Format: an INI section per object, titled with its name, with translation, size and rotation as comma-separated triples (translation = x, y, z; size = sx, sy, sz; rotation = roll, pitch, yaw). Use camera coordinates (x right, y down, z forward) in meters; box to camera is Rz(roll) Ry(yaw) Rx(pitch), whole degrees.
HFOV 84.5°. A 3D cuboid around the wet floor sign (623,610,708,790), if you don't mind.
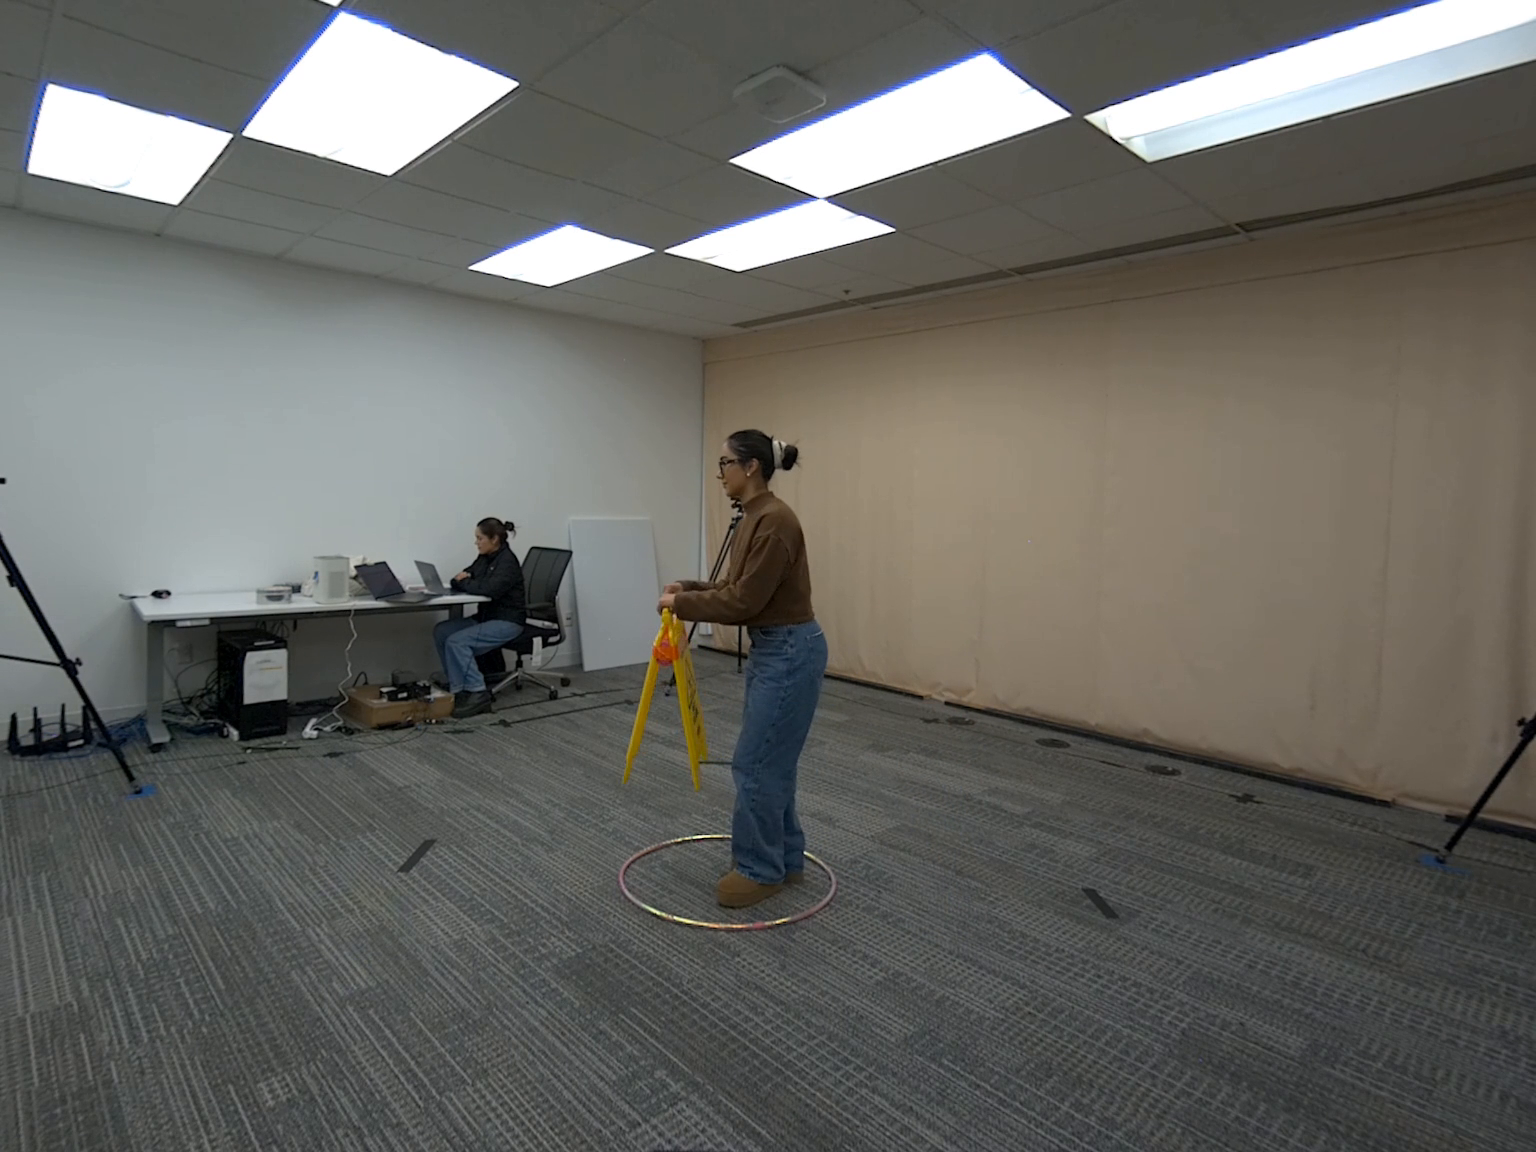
[wet floor sign]
translation = -0.352, 0.403, 2.969
size = 0.290, 0.641, 0.283
rotation = 4, 10, 3
